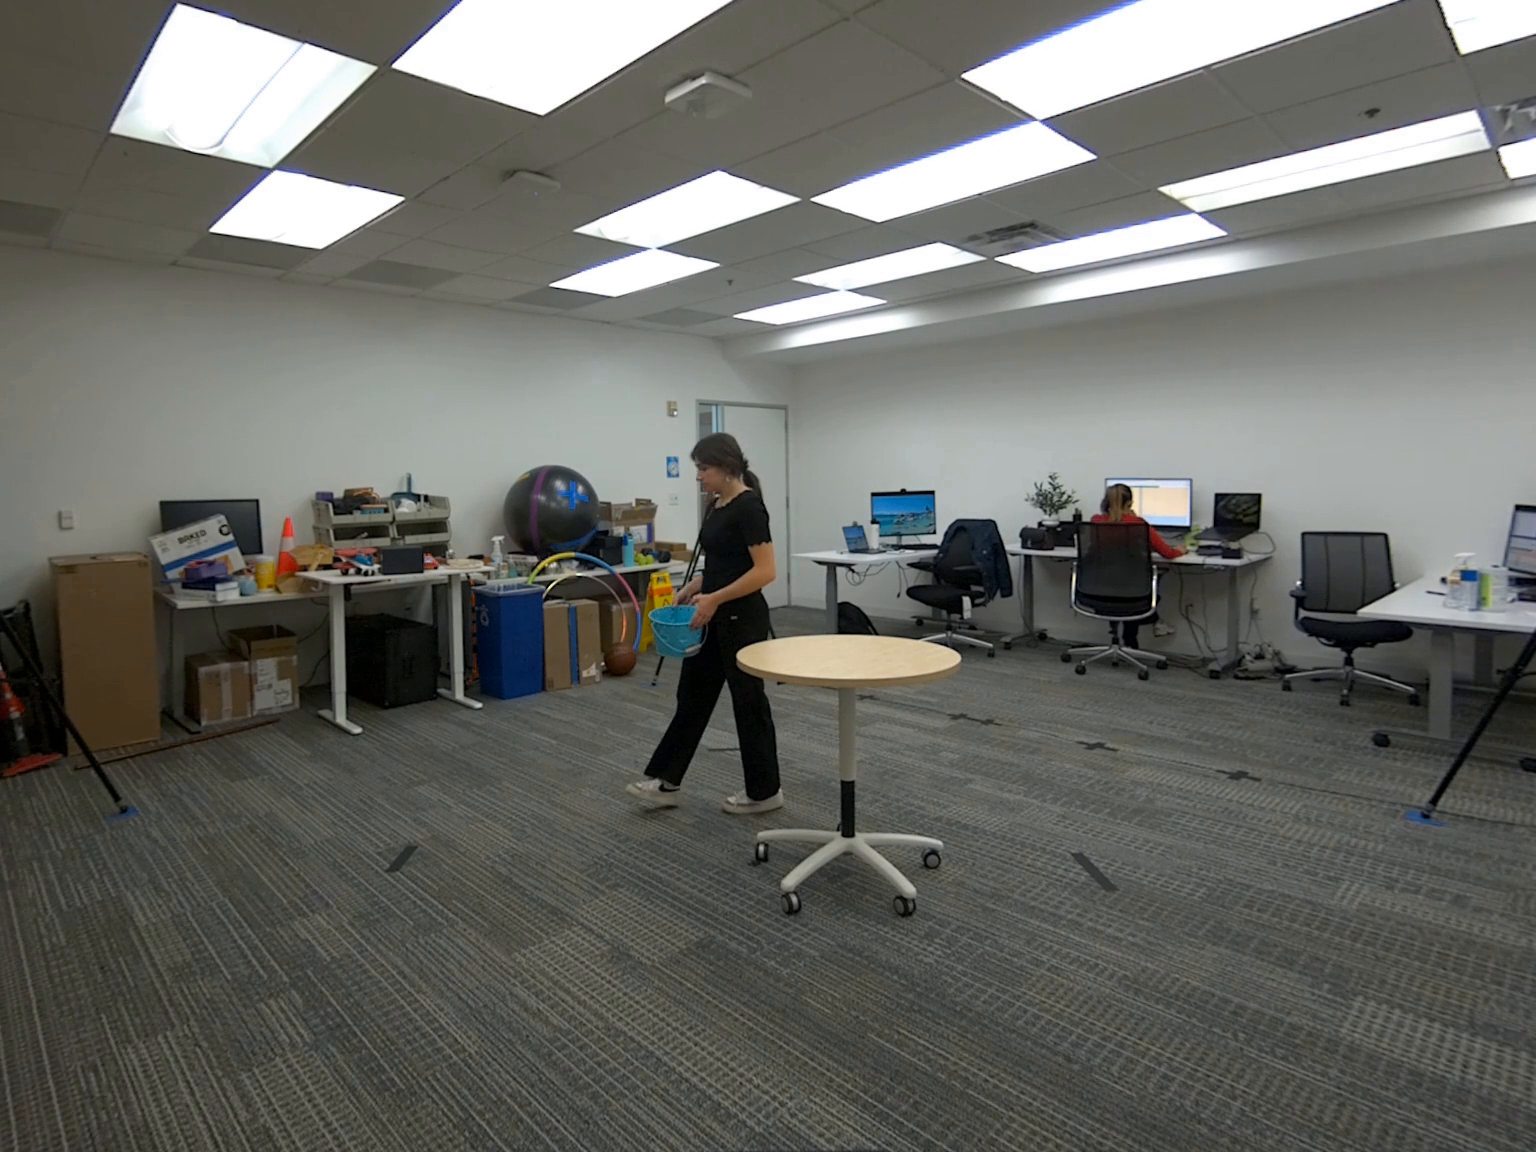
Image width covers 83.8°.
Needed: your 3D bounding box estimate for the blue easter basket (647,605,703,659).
[{"bbox_3d":[-0.370,0.228,3.471,0.243,0.154,0.246,1,12,-2],"label":"blue easter basket"}]
